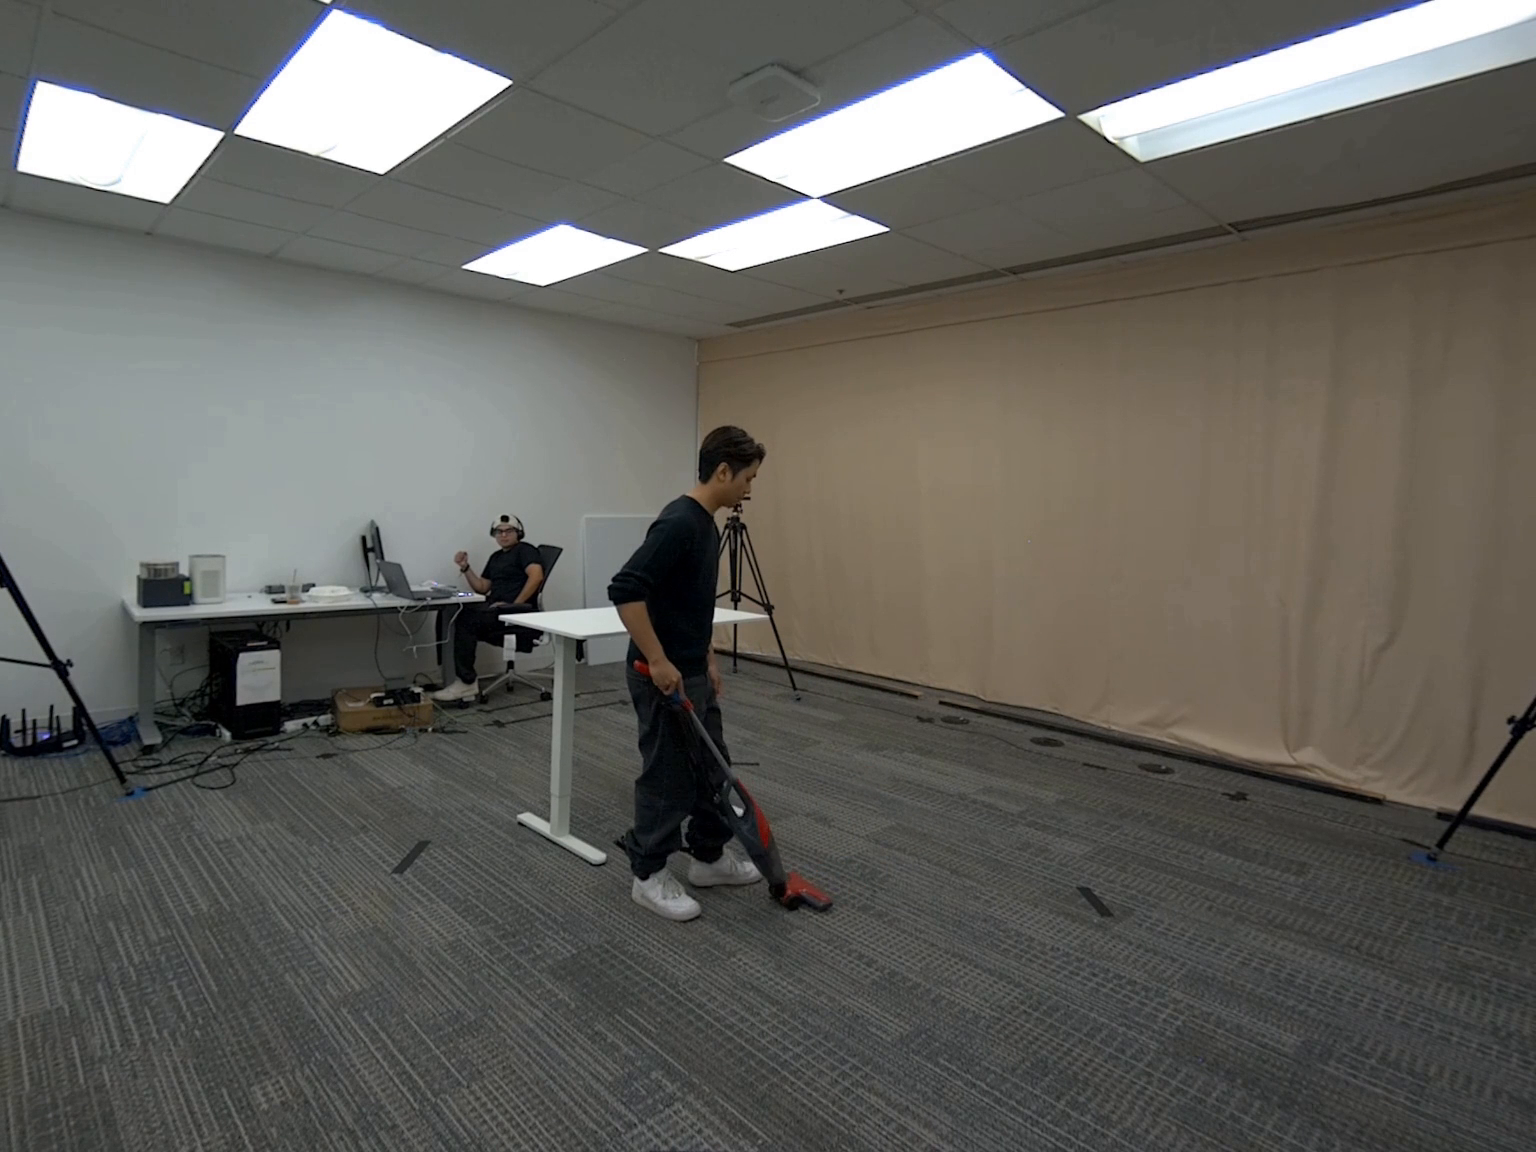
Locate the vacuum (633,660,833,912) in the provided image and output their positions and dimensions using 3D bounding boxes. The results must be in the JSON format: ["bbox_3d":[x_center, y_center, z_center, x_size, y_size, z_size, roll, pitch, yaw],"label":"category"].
[{"bbox_3d":[-0.131,0.702,2.765,0.143,1.029,0.258,-38,21,-20],"label":"vacuum"}]
